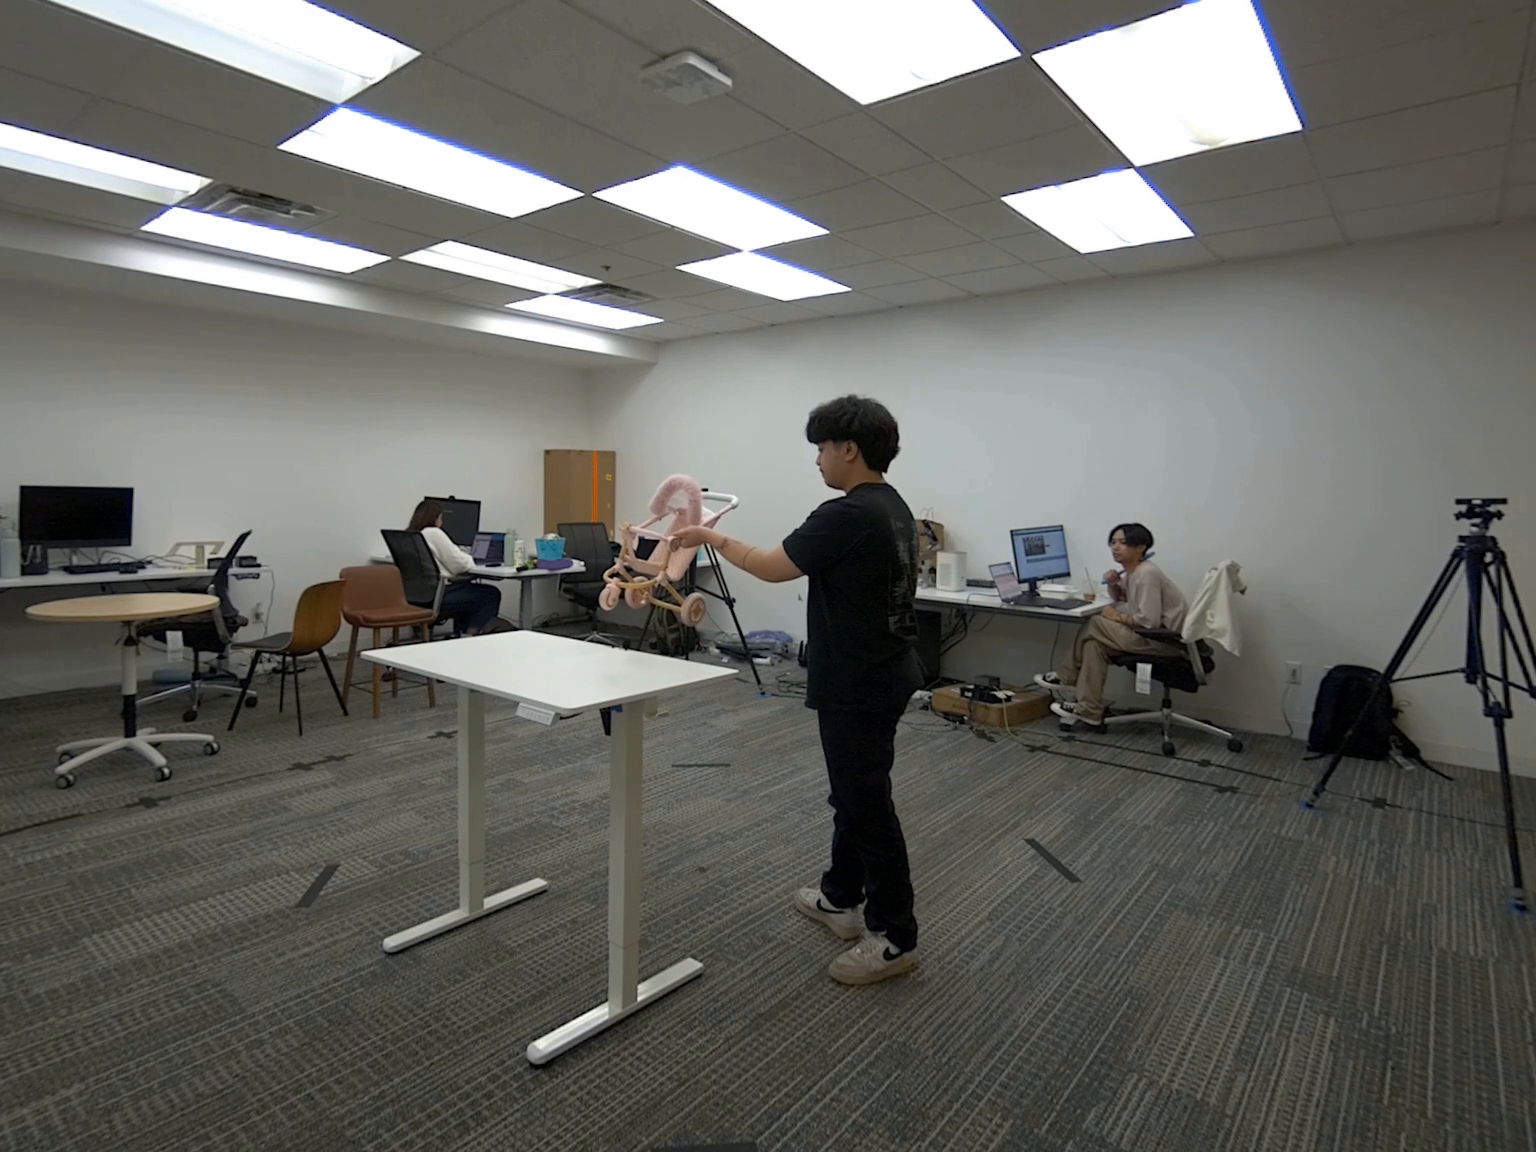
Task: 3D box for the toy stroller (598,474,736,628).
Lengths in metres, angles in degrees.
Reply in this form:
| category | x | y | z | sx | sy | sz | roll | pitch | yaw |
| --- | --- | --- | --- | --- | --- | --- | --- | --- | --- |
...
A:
| category | x | y | z | sx | sy | sz | roll | pitch | yaw |
| --- | --- | --- | --- | --- | --- | --- | --- | --- | --- |
| toy stroller | -0.346 | -0.100 | 2.745 | 0.292 | 0.538 | 0.327 | 13 | -14 | 41 |
